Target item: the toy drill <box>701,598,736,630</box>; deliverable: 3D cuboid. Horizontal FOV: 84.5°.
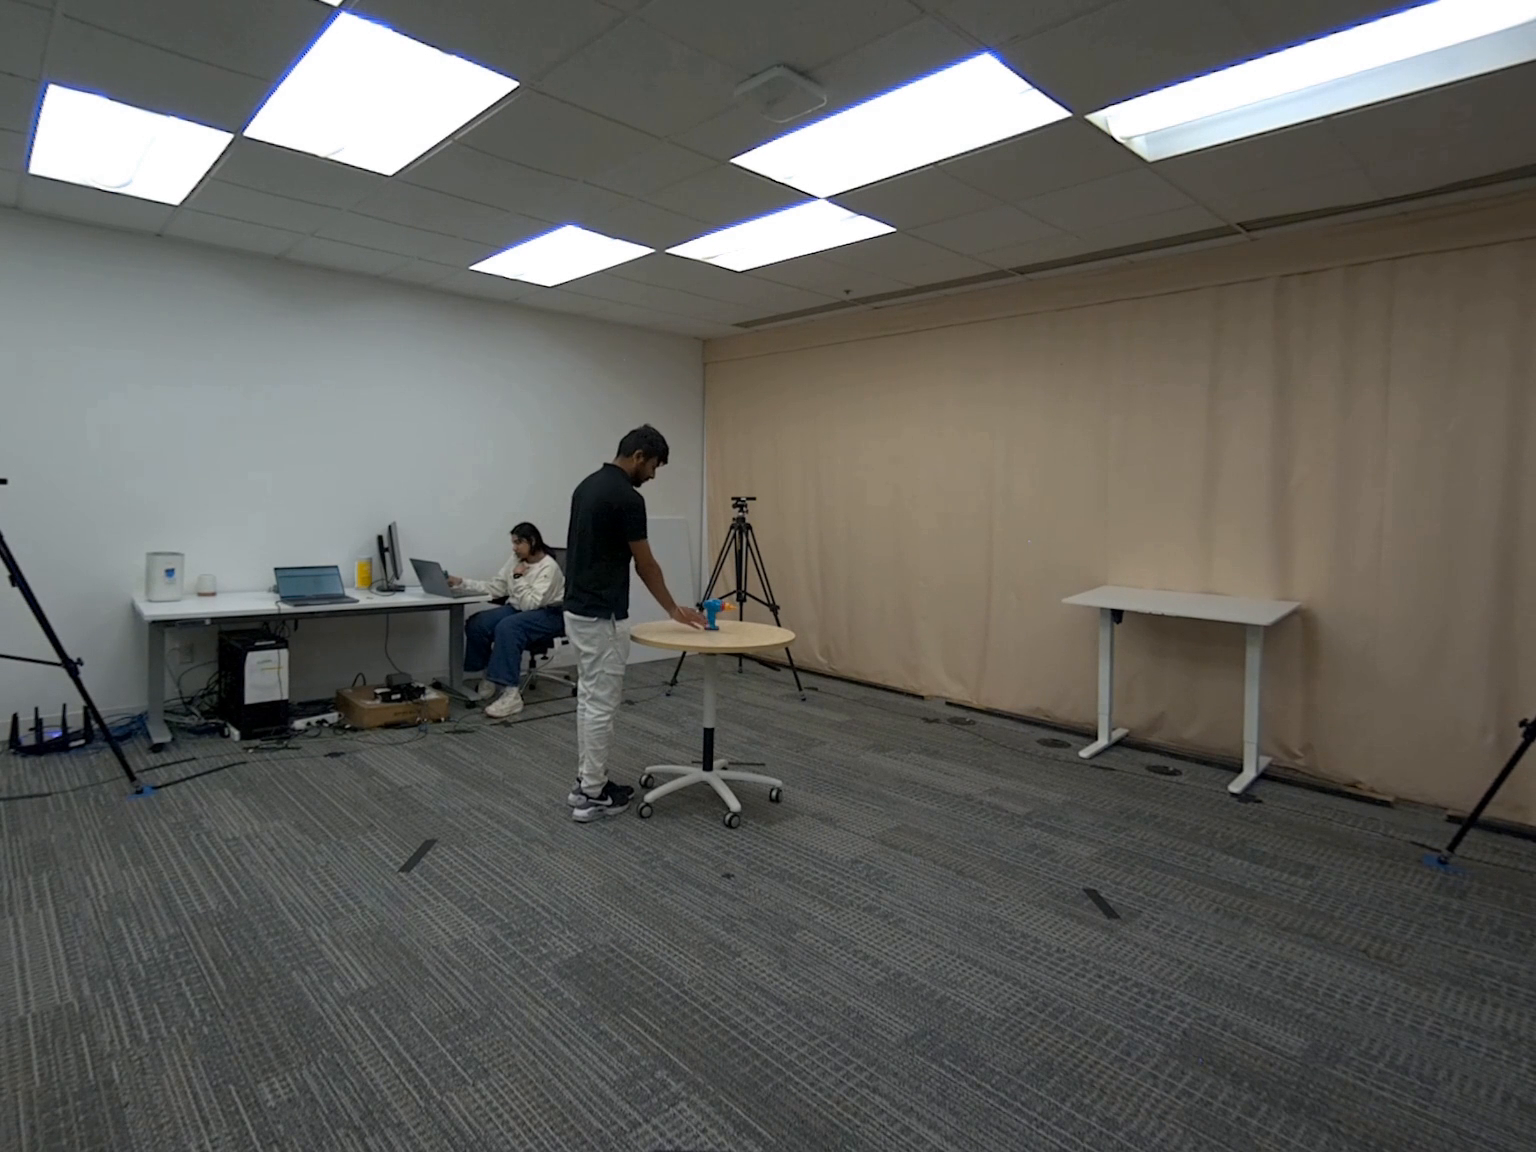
[{"bbox_3d":[-0.240,0.178,3.905,0.171,0.145,0.061,3,5,9],"label":"toy drill"}]
